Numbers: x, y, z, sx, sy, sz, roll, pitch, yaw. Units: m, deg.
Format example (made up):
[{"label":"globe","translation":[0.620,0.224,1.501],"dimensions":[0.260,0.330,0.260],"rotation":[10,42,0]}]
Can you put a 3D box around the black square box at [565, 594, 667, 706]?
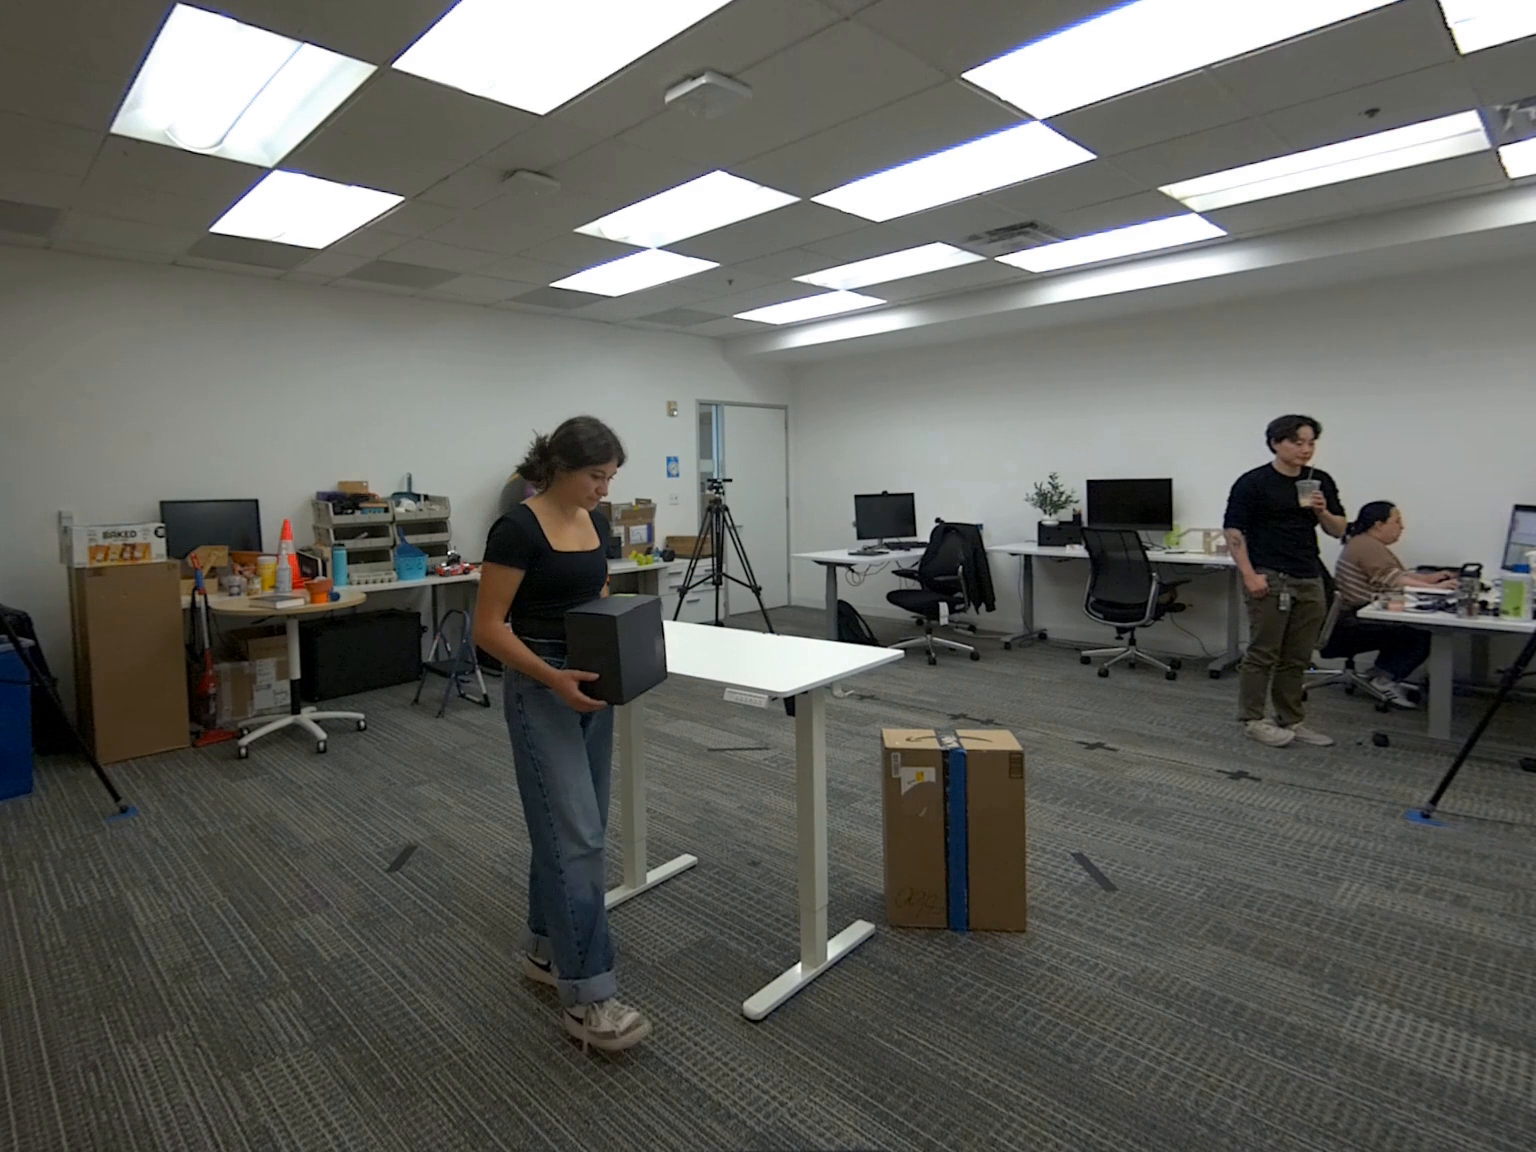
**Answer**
[{"label":"black square box","translation":[-0.392,0.181,2.175],"dimensions":[0.159,0.226,0.214],"rotation":[1,9,24]}]
